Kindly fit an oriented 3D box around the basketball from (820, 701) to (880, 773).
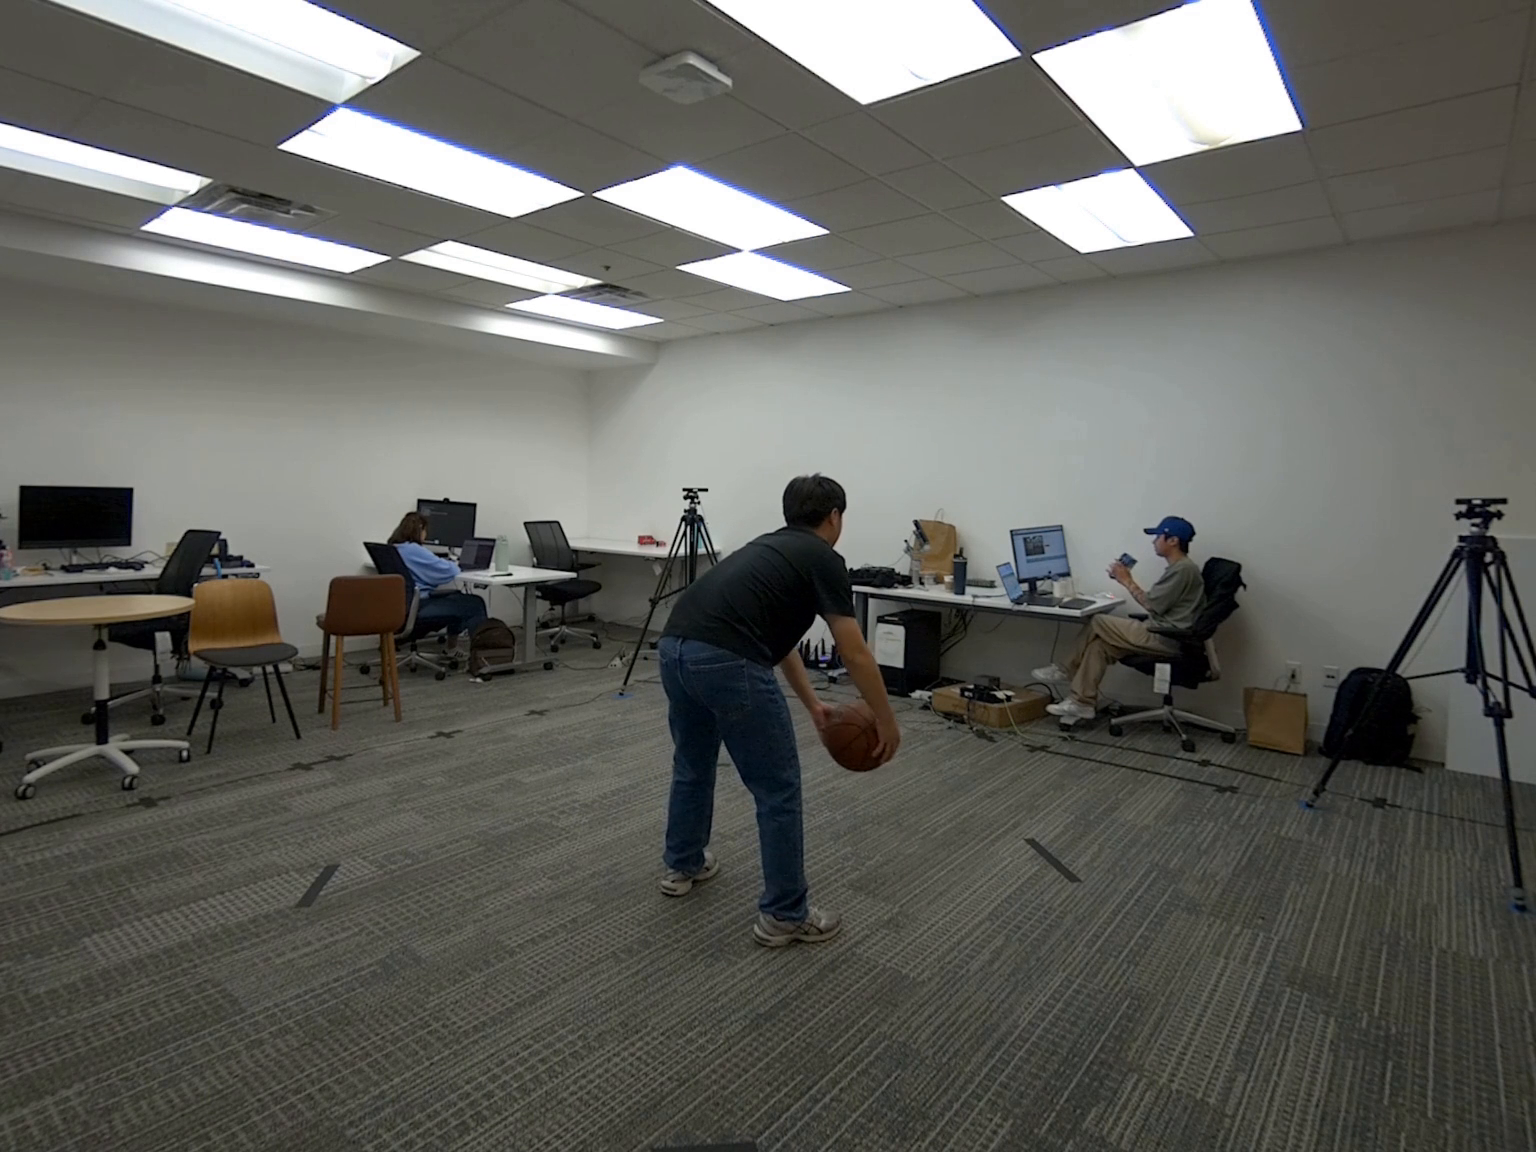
[{"bbox_3d":[0.289,0.529,2.878,0.235,0.235,0.237,1,4,-2],"label":"basketball"}]
